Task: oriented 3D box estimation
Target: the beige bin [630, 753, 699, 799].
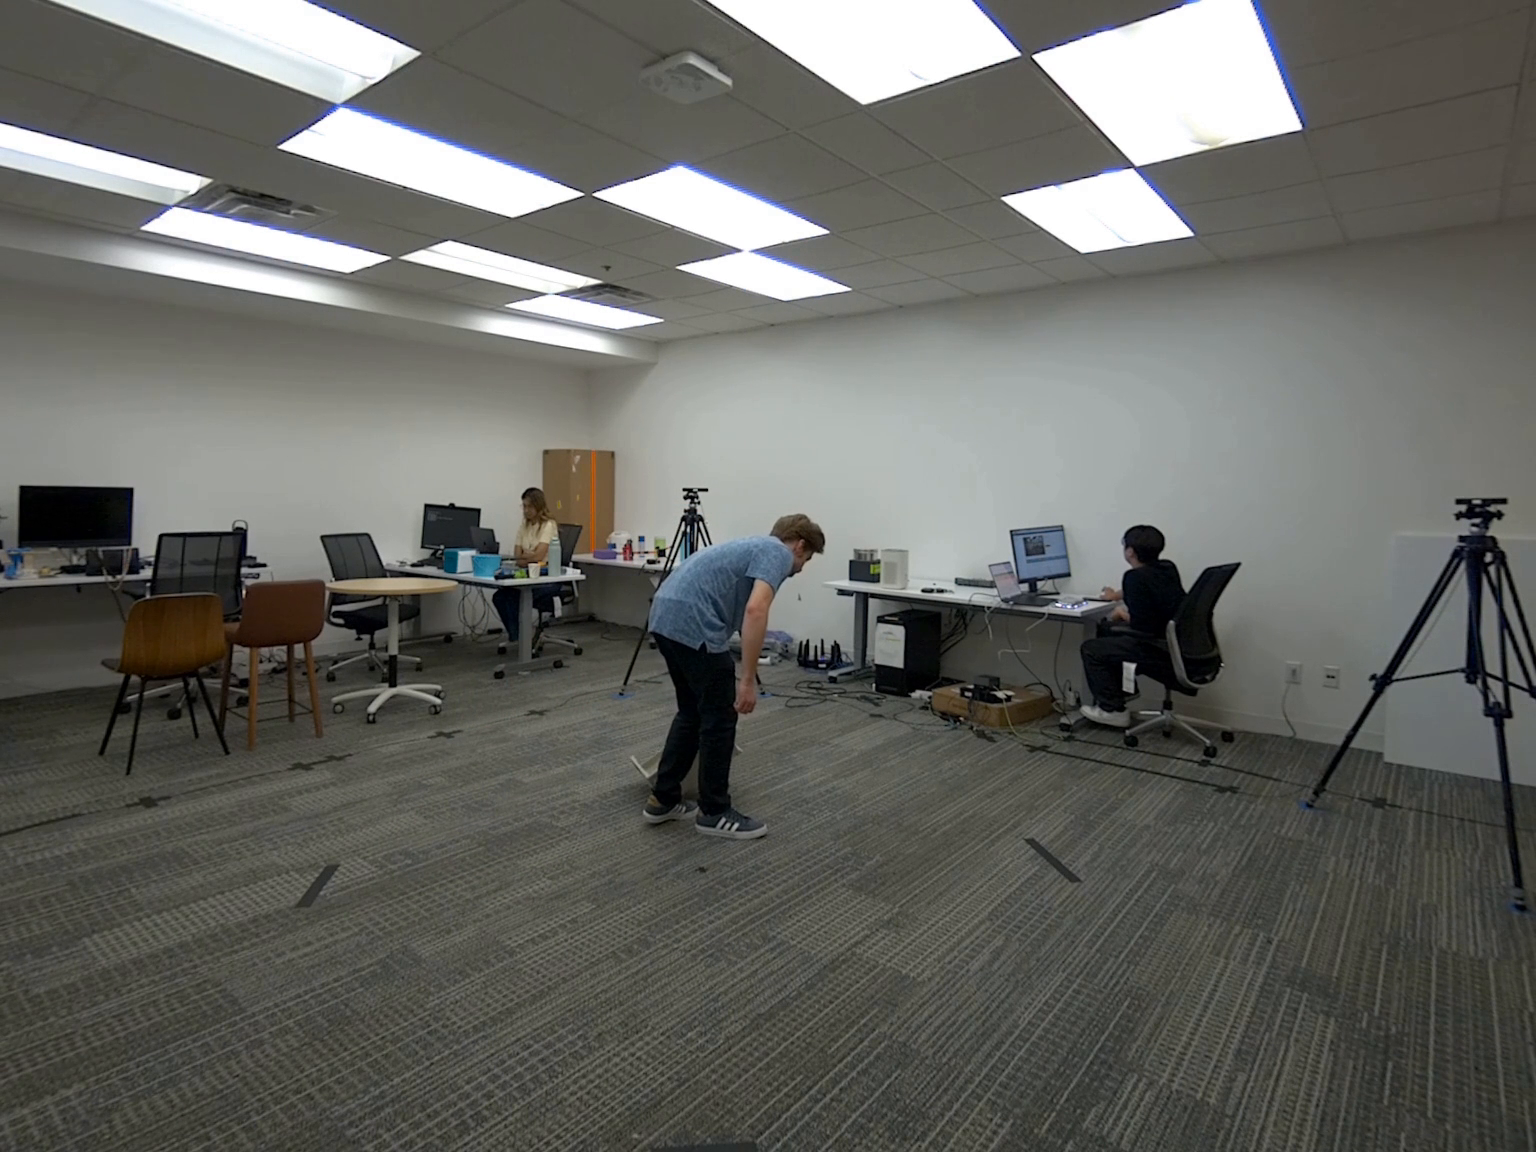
[{"bbox_3d":[-0.395,0.798,3.882,0.420,0.185,0.386,-34,16,-16],"label":"beige bin"}]
